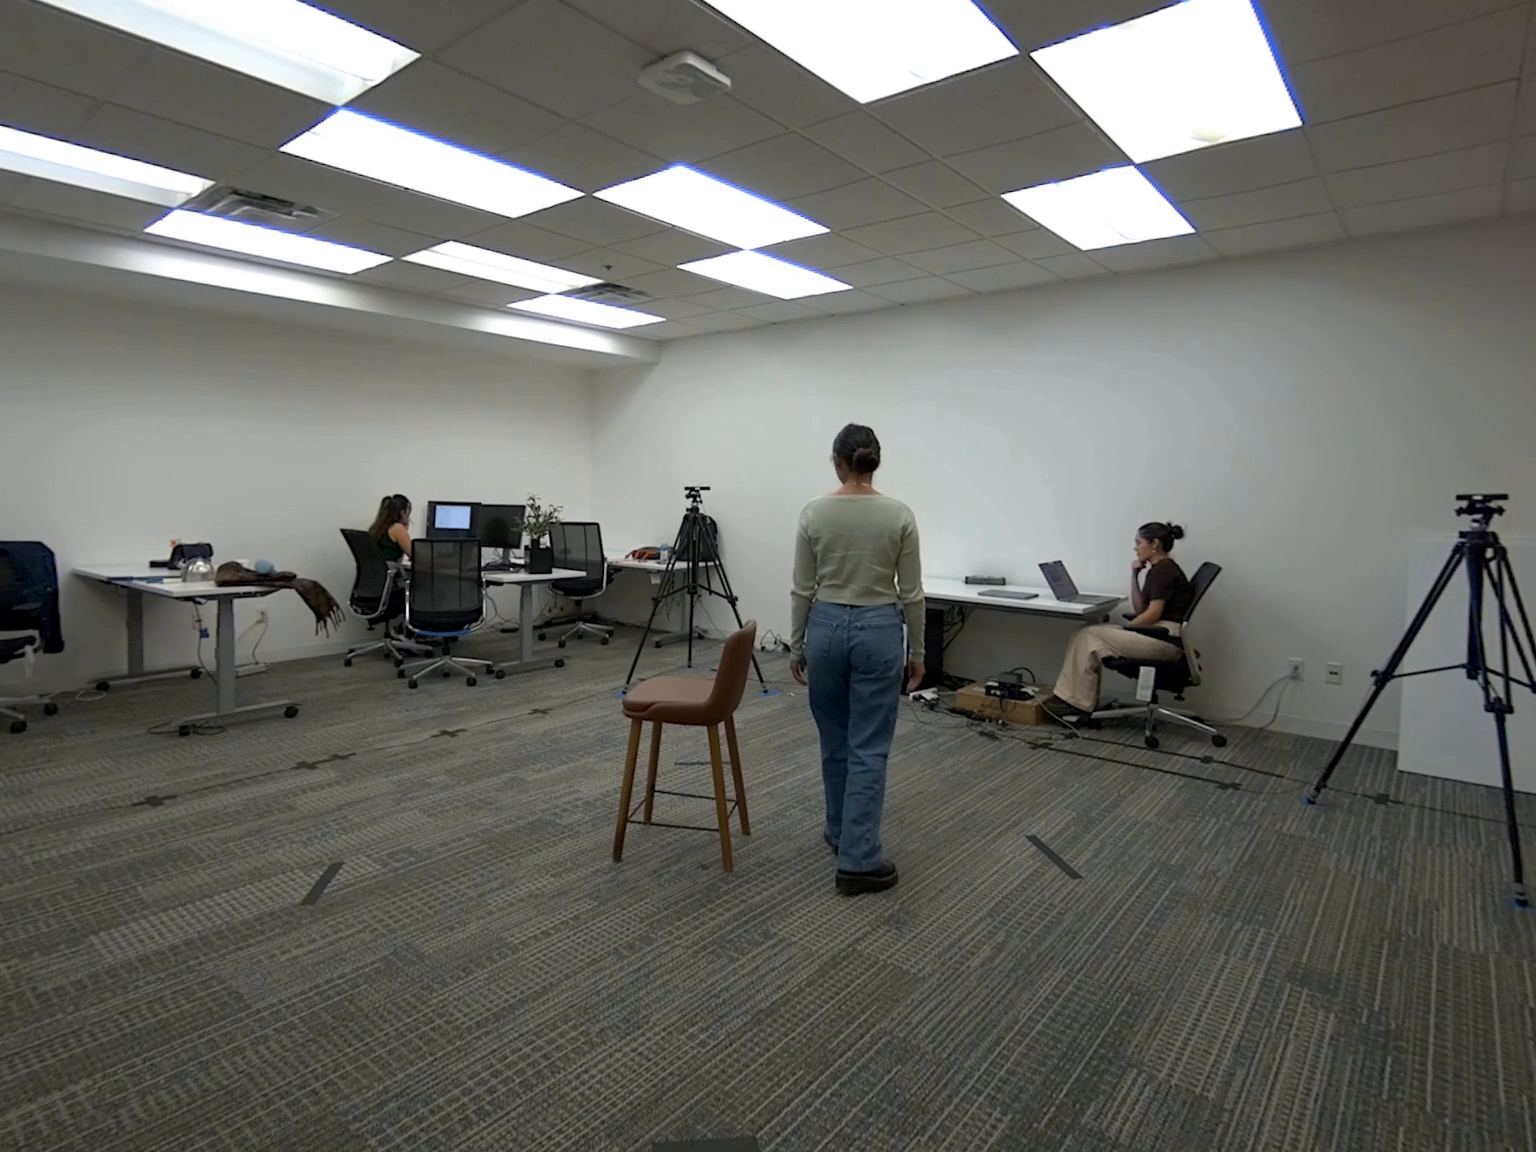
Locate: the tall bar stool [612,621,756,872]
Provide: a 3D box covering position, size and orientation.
[{"bbox_3d":[-0.314,0.607,3.280,0.474,0.887,0.451,4,4,12],"label":"tall bar stool"}]
